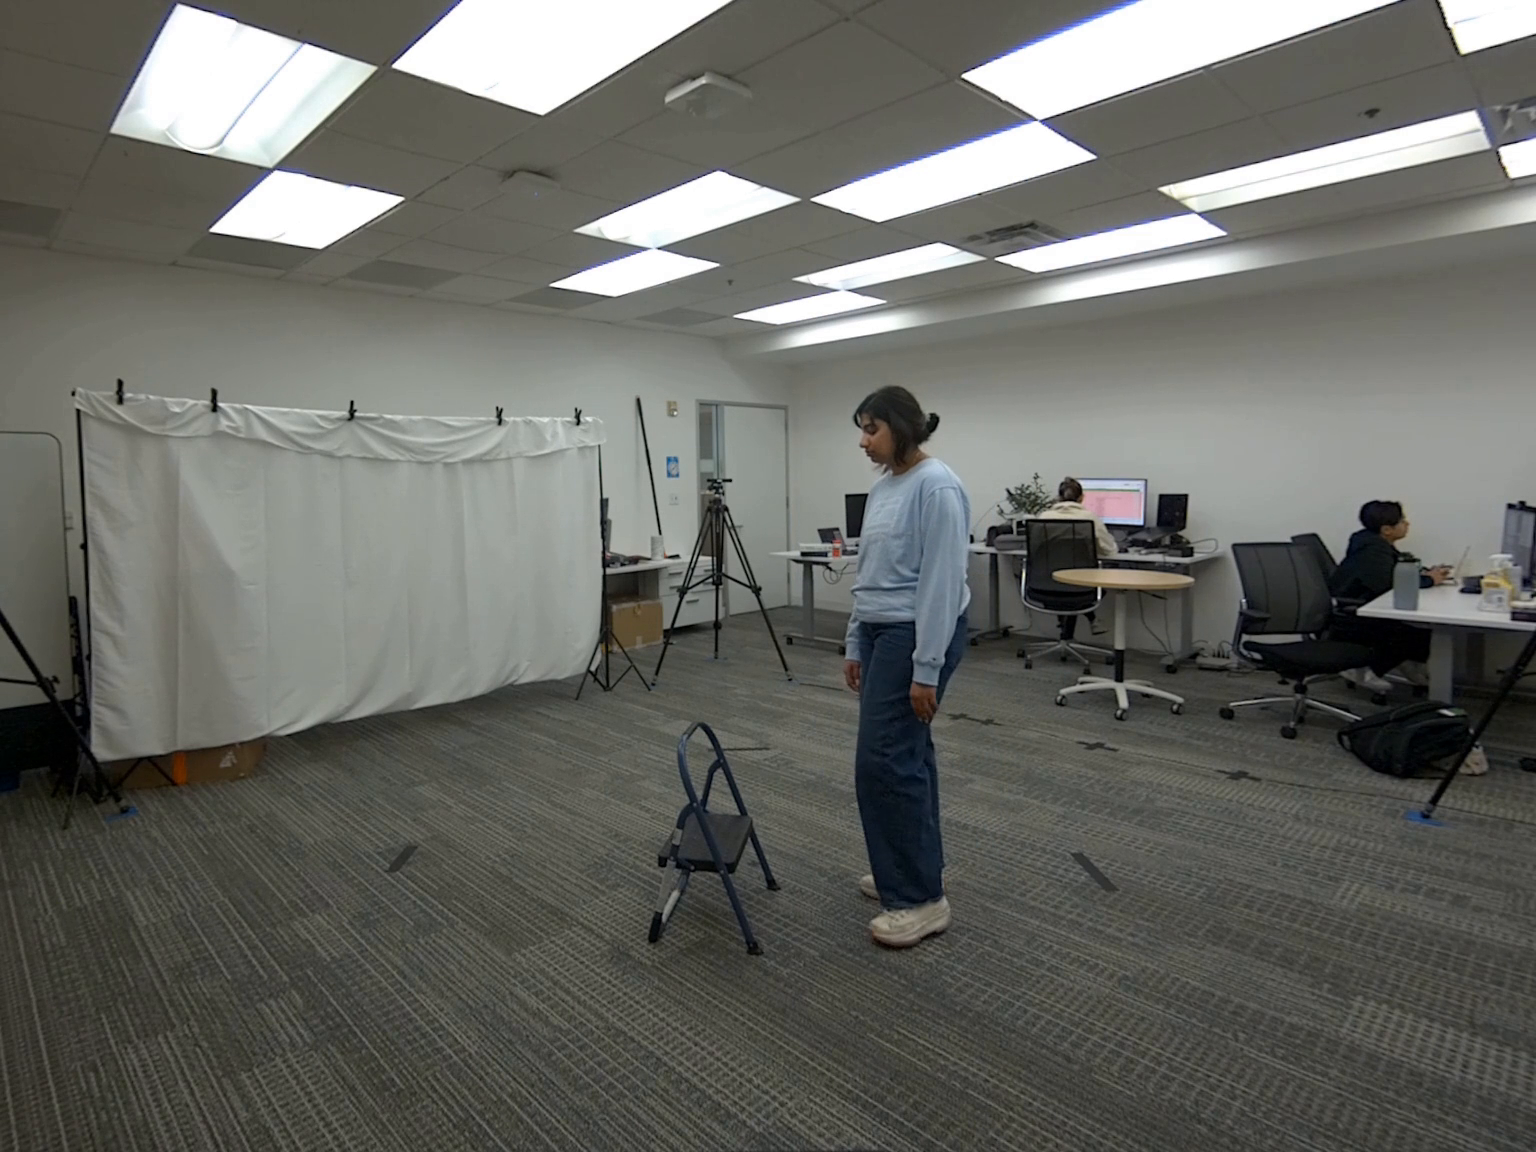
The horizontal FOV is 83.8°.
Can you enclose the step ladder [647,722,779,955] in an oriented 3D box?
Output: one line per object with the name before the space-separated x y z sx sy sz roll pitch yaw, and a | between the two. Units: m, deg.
step ladder | -0.166 0.789 2.728 0.353 0.604 0.428 0 5 10
